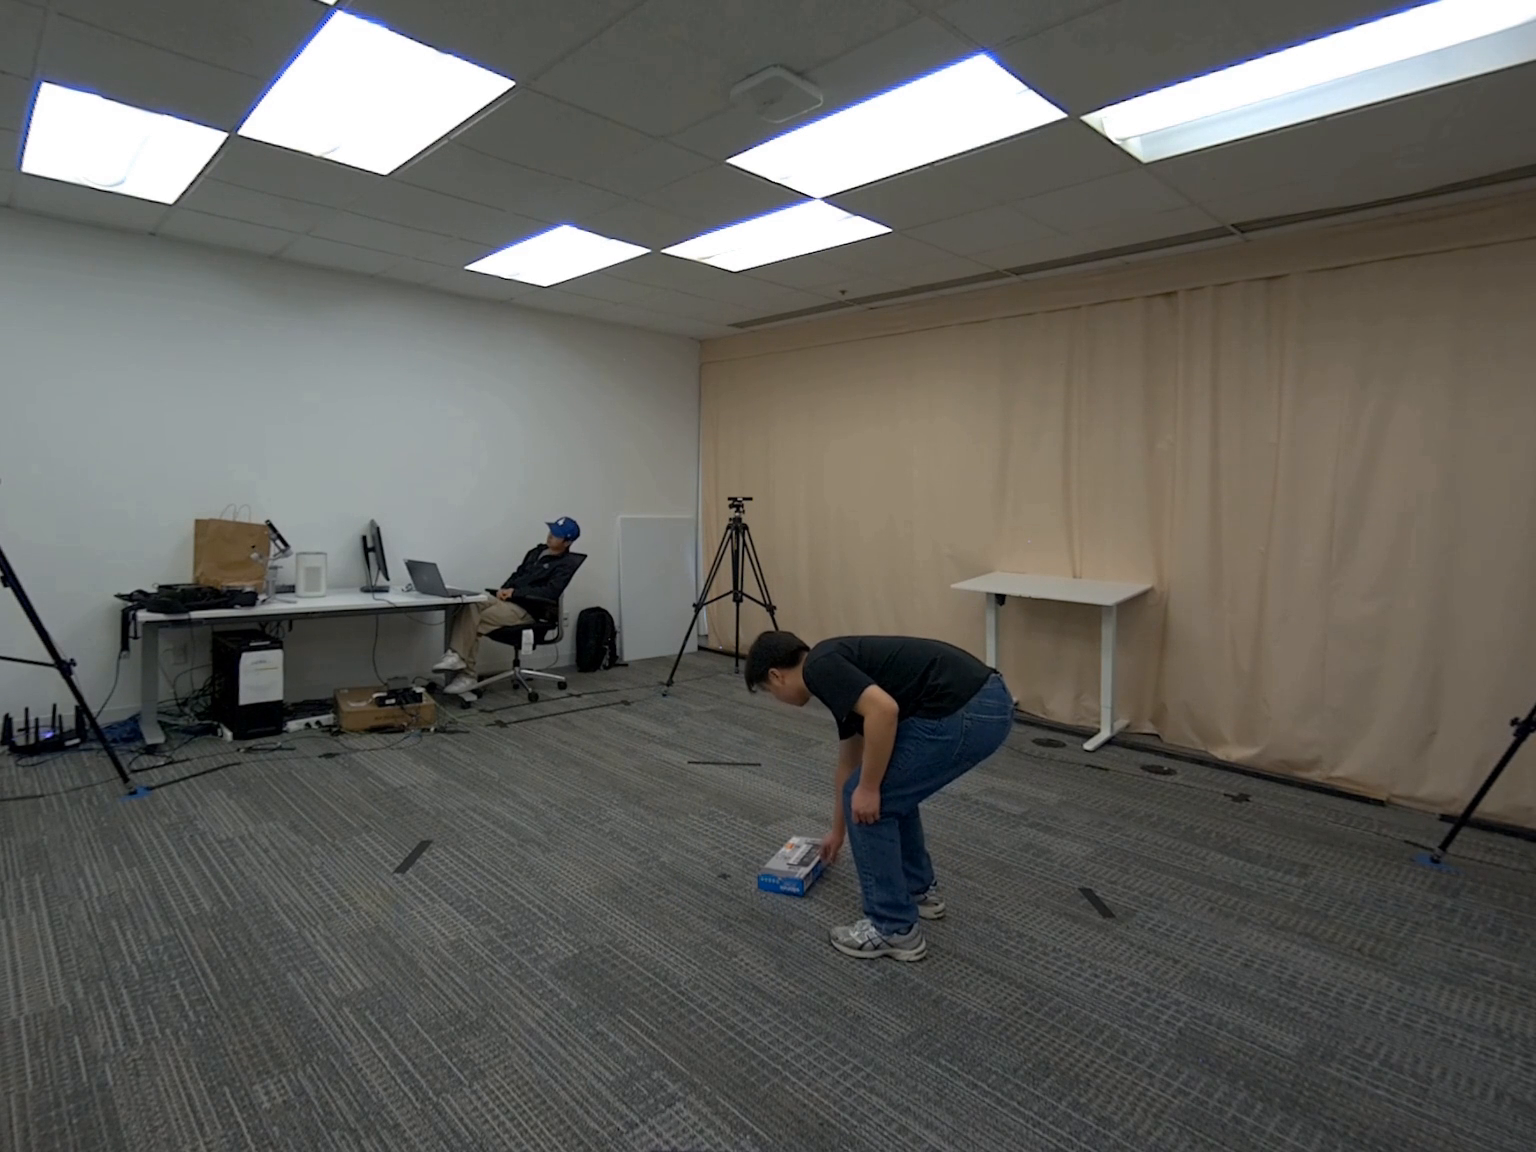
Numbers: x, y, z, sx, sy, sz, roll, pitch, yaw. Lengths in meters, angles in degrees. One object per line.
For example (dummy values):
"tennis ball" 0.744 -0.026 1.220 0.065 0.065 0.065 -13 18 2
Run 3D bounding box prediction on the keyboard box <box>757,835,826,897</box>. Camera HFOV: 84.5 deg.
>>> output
"keyboard box" 0.112 1.071 3.168 0.179 0.059 0.430 -1 3 22
